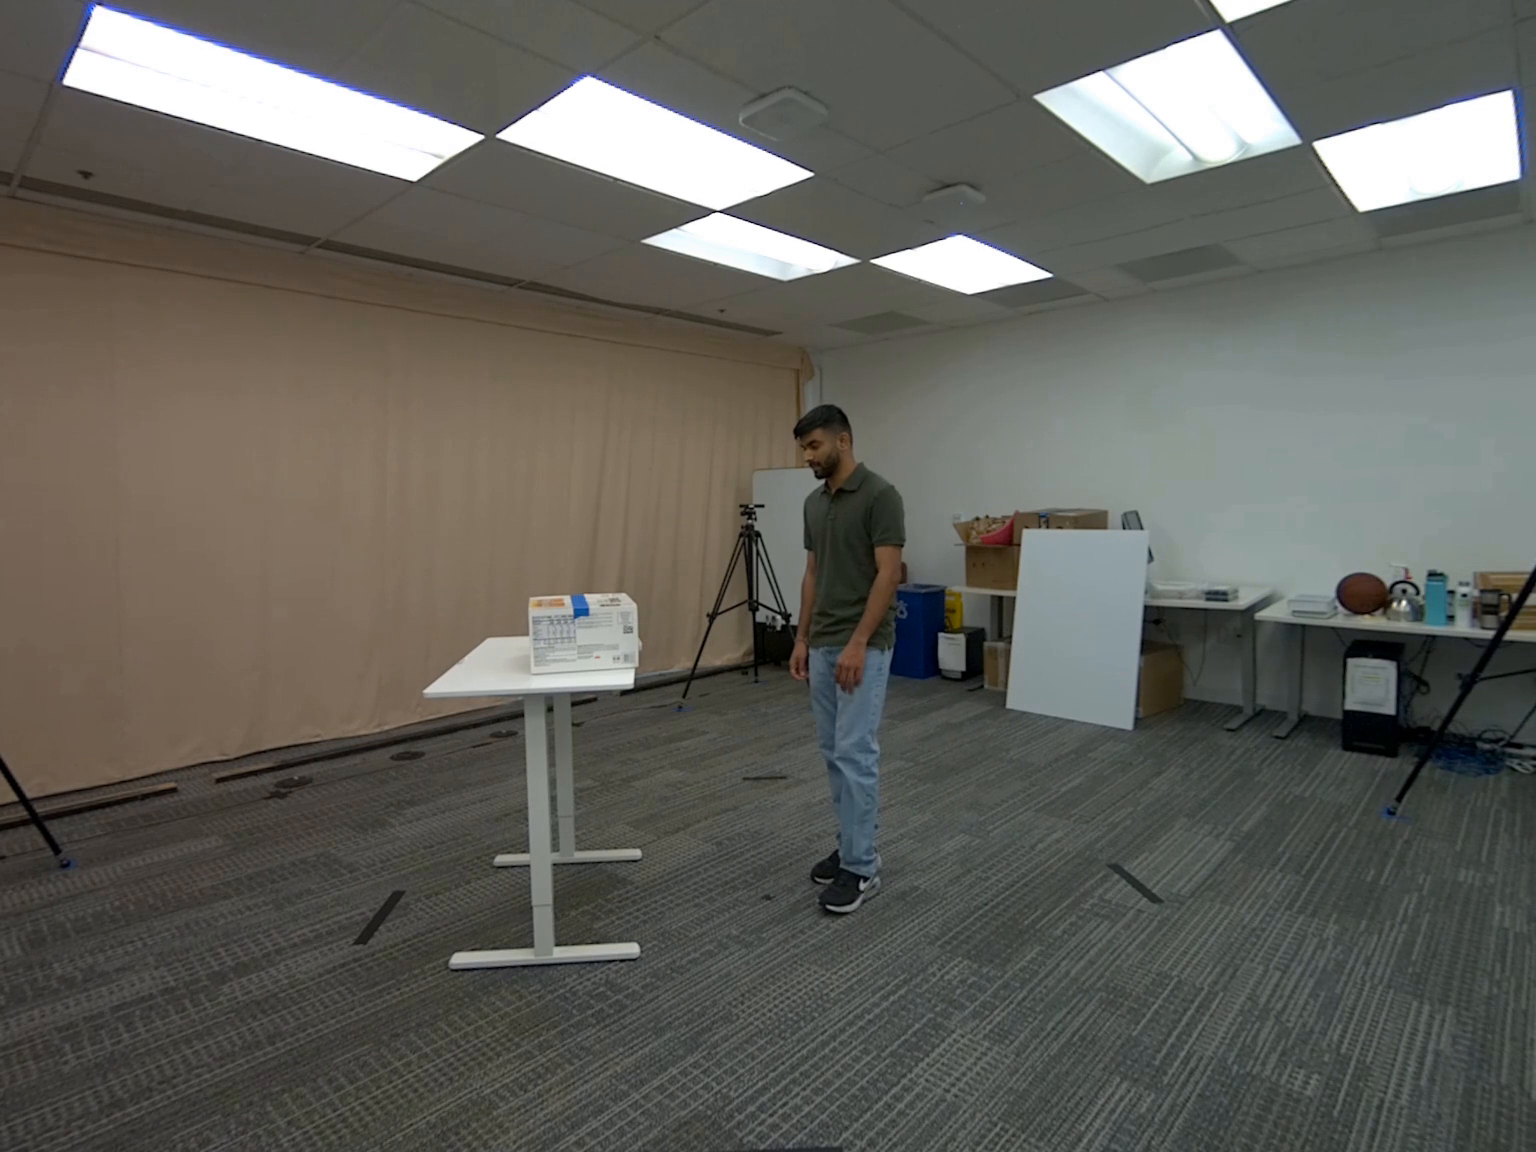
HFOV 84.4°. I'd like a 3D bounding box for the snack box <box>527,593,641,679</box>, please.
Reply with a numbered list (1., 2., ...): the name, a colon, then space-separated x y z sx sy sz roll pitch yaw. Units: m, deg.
1. snack box: -0.626 0.186 2.829 0.336 0.205 0.412 -3 5 -14
